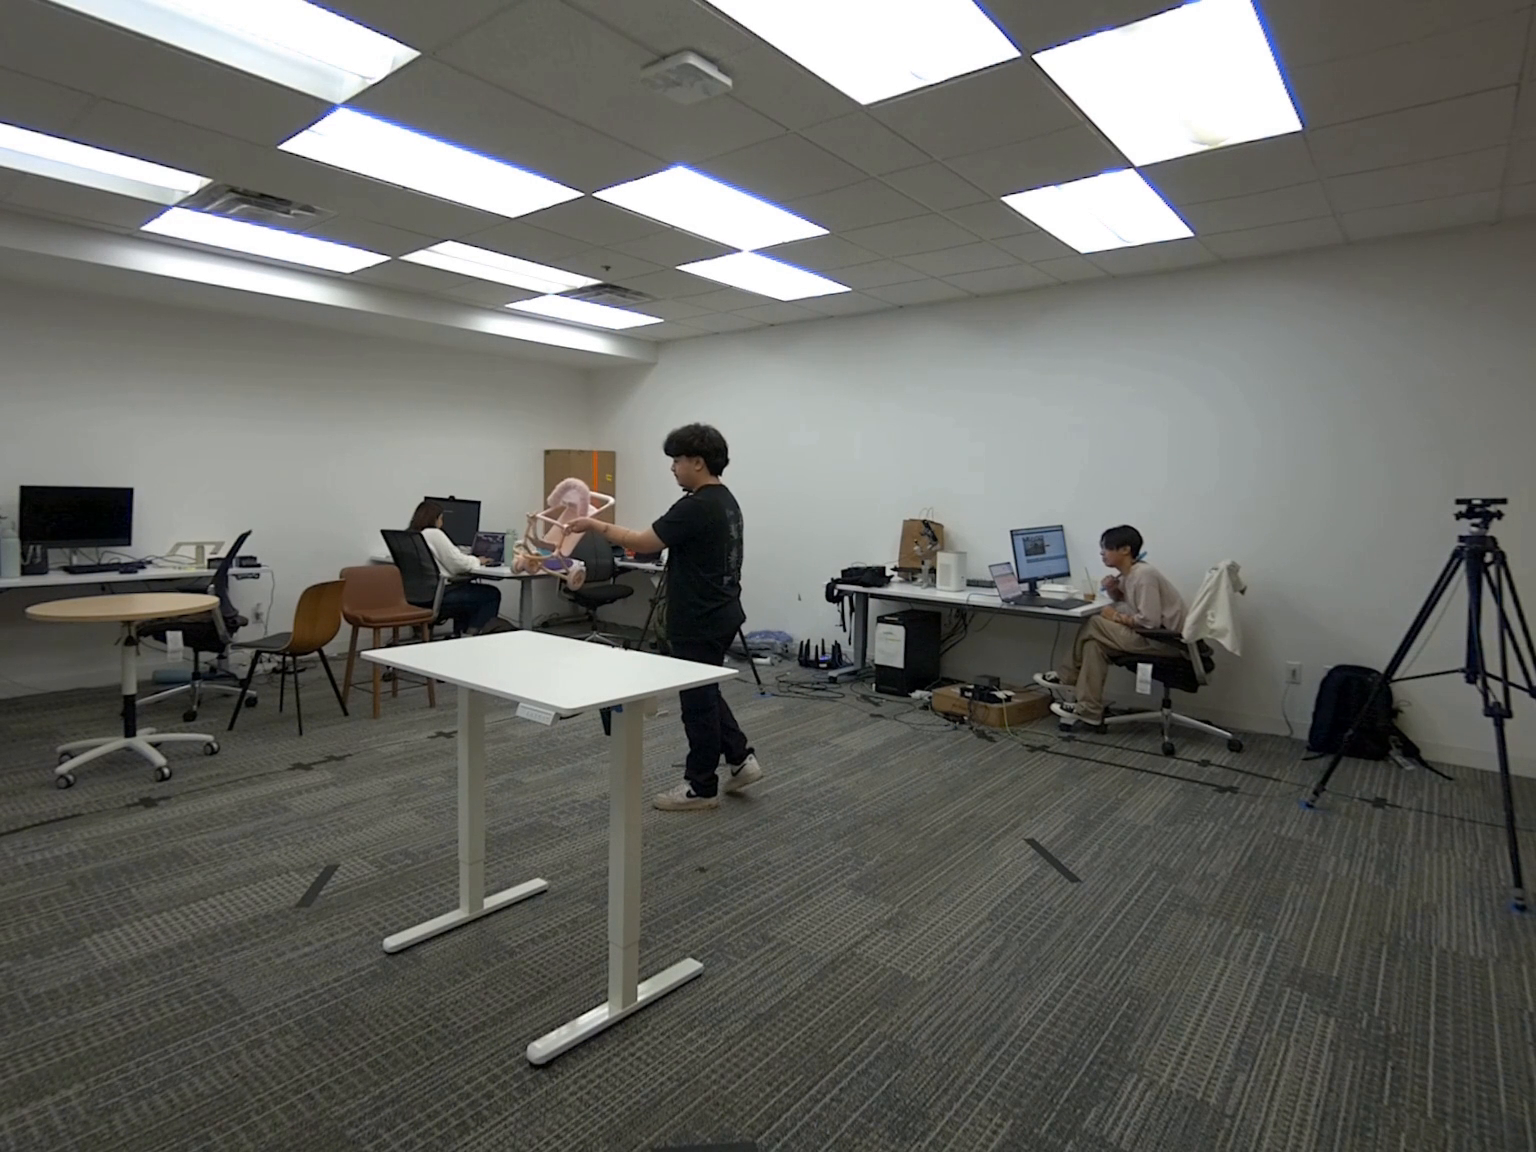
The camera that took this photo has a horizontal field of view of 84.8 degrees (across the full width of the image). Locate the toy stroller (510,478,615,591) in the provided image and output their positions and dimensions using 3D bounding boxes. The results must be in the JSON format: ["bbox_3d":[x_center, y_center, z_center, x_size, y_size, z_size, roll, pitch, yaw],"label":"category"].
[{"bbox_3d":[-0.938,-0.205,3.735,0.291,0.538,0.328,16,-18,29],"label":"toy stroller"}]
